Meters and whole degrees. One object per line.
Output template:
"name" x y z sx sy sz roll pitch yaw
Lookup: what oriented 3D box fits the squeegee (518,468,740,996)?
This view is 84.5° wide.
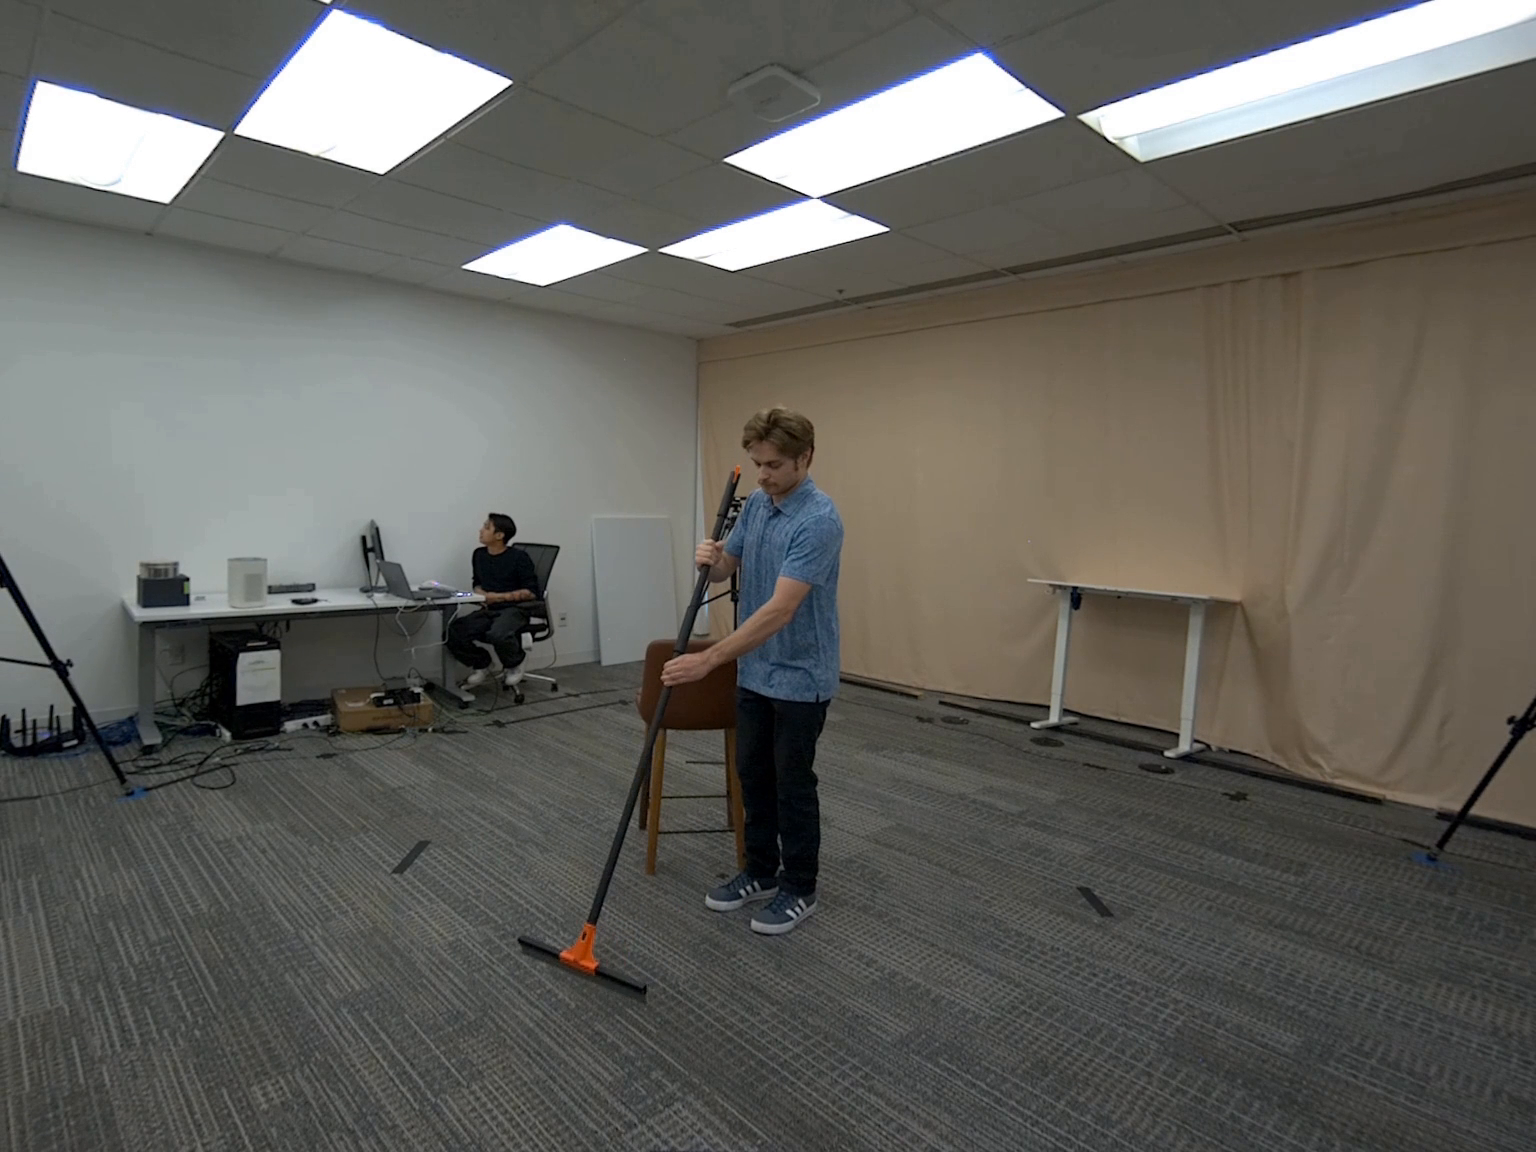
"squeegee" -0.300 0.339 2.406 0.447 1.553 0.051 2 -24 31
